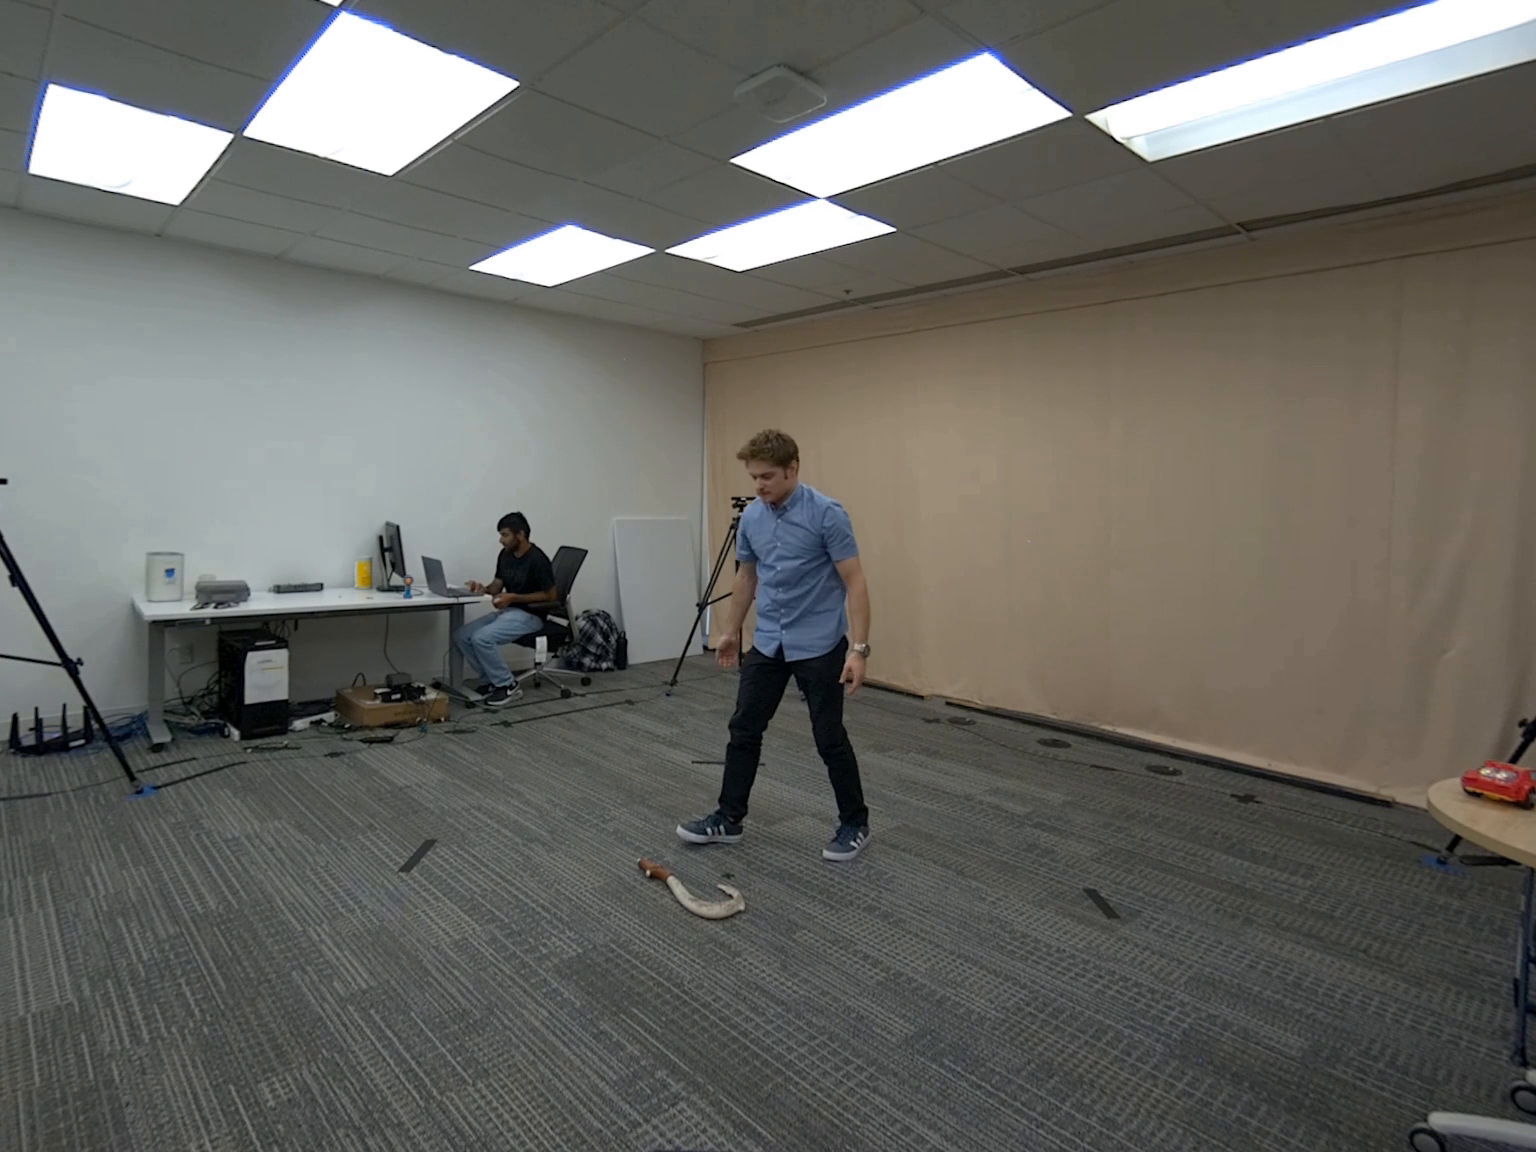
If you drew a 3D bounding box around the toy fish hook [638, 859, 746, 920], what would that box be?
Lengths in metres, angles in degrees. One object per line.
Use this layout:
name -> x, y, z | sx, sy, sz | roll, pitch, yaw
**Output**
toy fish hook -> -0.284, 1.099, 2.997 | 0.219, 0.048, 0.520 | 7, 1, -40
